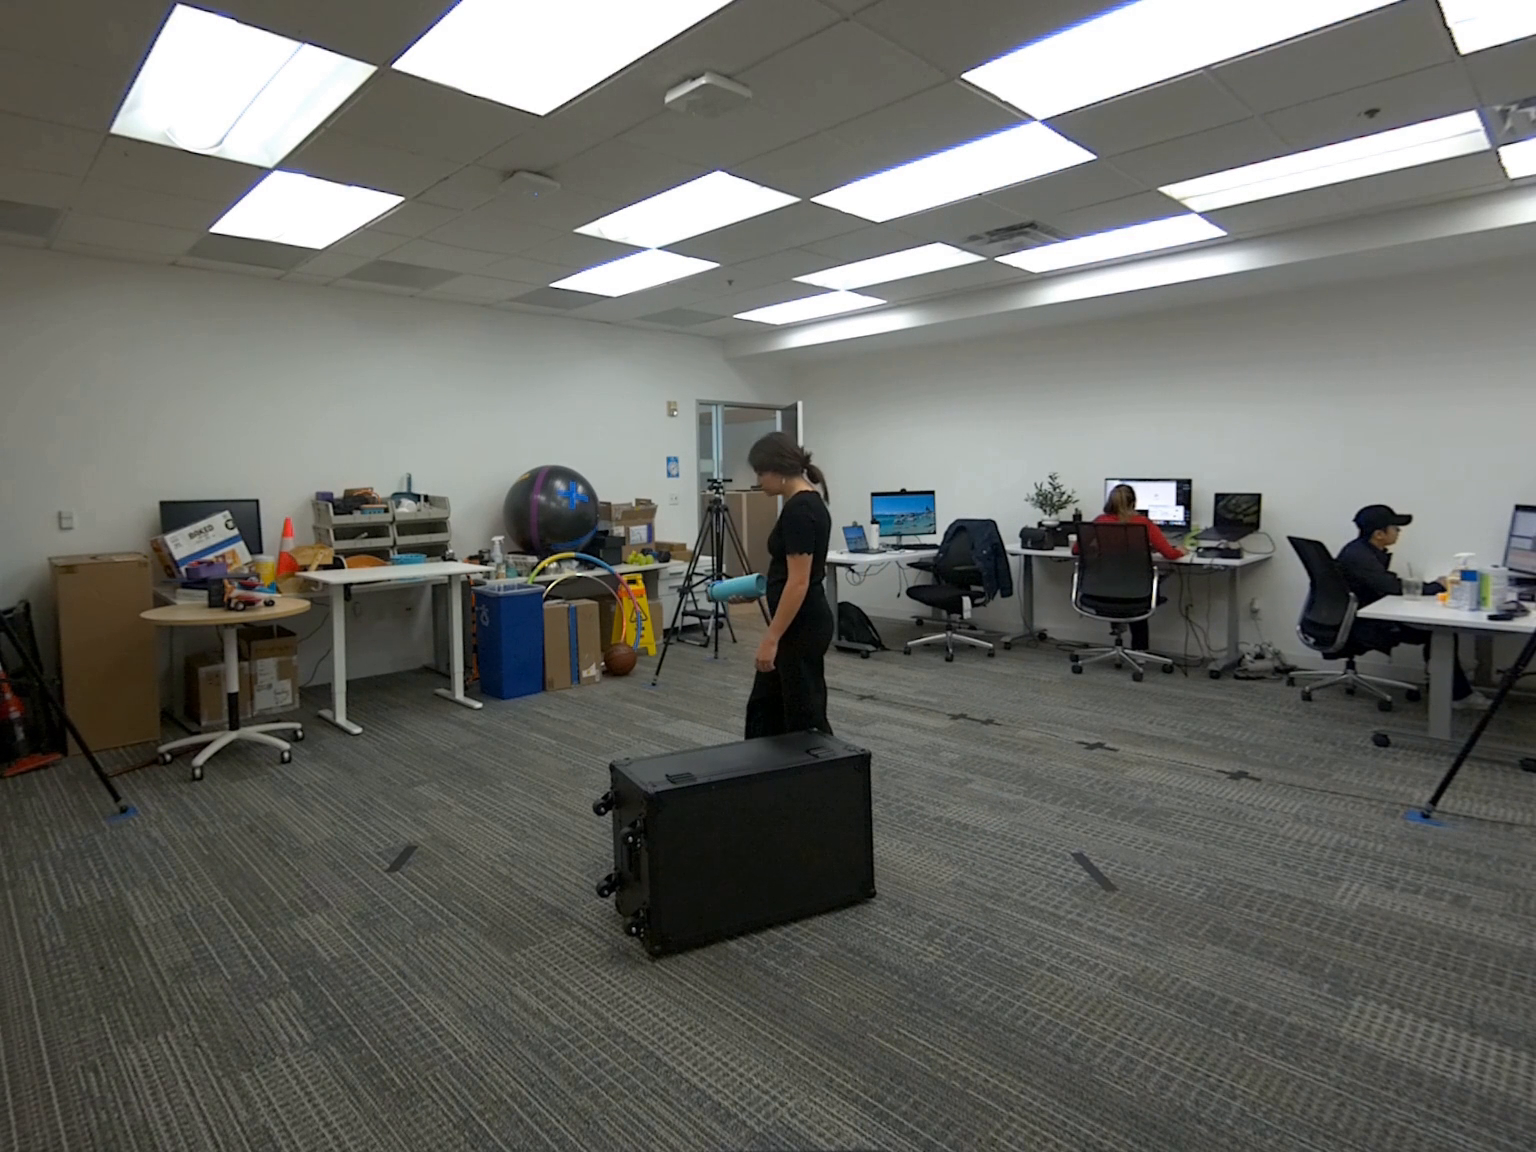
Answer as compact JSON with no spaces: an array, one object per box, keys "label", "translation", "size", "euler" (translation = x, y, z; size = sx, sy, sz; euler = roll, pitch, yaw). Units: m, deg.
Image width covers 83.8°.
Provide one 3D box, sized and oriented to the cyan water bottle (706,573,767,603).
[{"label":"cyan water bottle","translation":[-0.140,0.051,3.504],"size":[0.290,0.092,0.090],"euler":[-10,-1,35]}]
